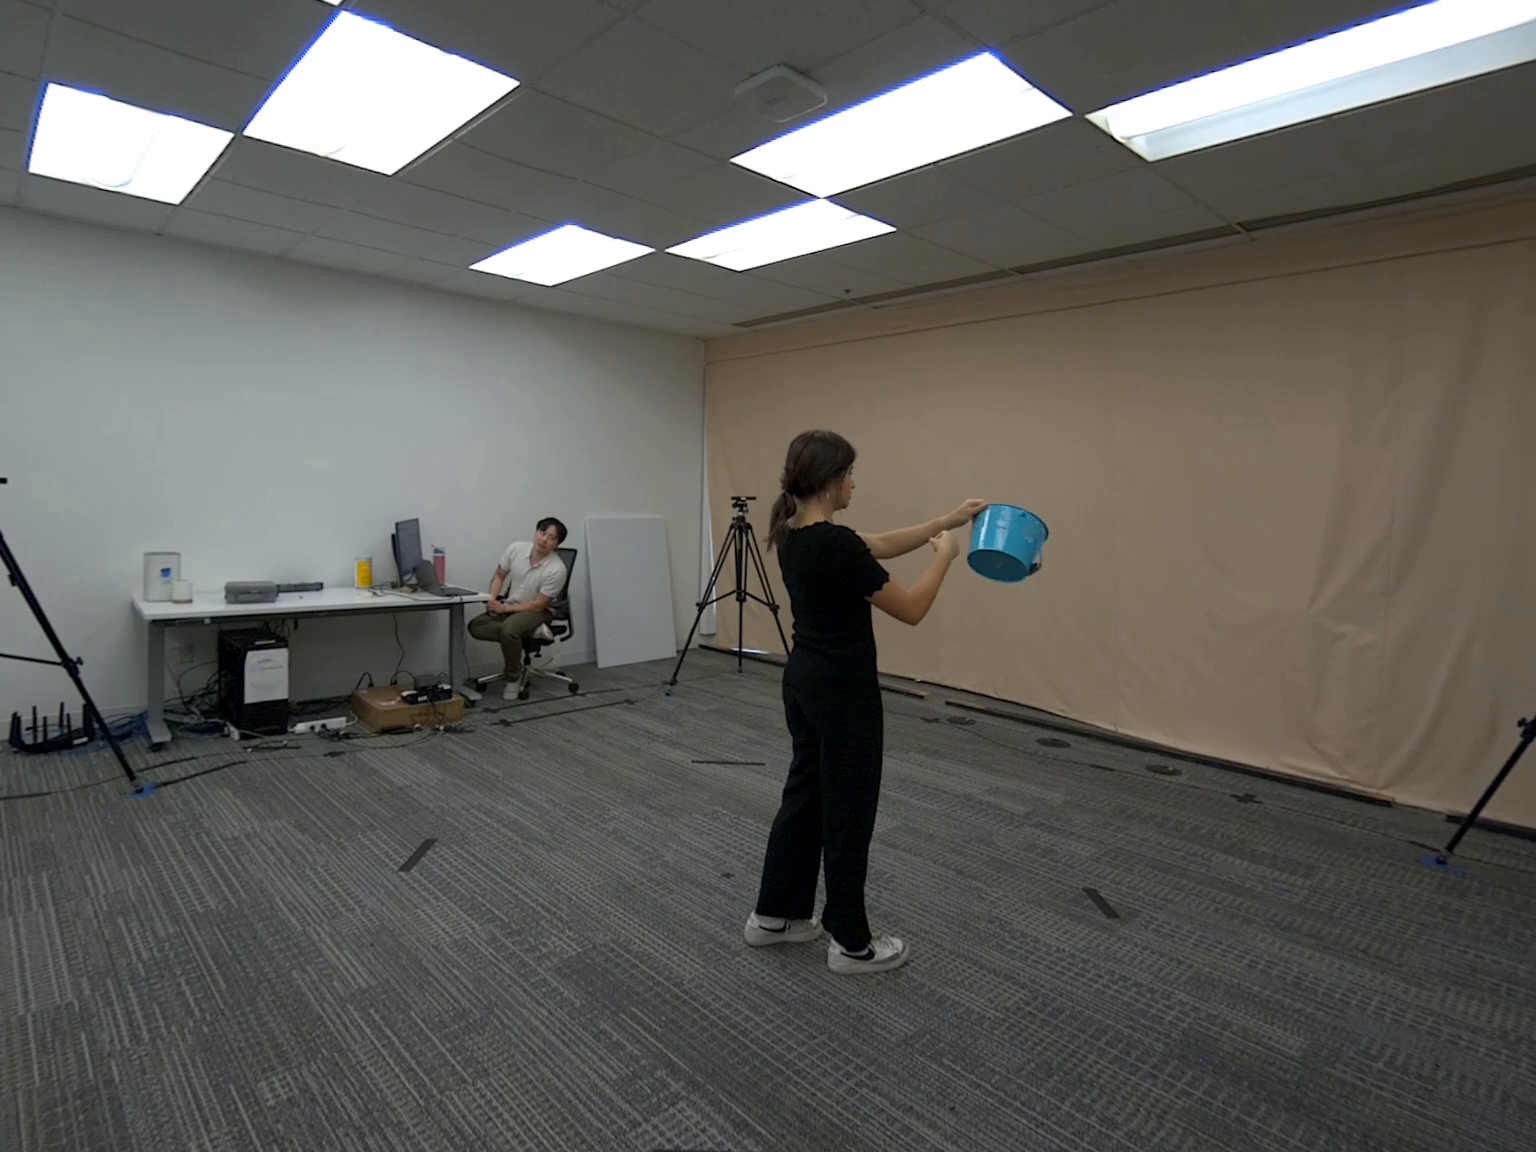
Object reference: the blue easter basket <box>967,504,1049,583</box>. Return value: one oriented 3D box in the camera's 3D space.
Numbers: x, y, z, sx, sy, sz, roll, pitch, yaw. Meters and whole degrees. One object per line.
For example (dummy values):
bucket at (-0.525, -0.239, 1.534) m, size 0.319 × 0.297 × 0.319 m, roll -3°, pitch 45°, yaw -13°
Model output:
blue easter basket at (0.712, -0.095, 2.562) m, size 0.246 × 0.157 × 0.239 m, roll 22°, pitch -25°, yaw 9°
